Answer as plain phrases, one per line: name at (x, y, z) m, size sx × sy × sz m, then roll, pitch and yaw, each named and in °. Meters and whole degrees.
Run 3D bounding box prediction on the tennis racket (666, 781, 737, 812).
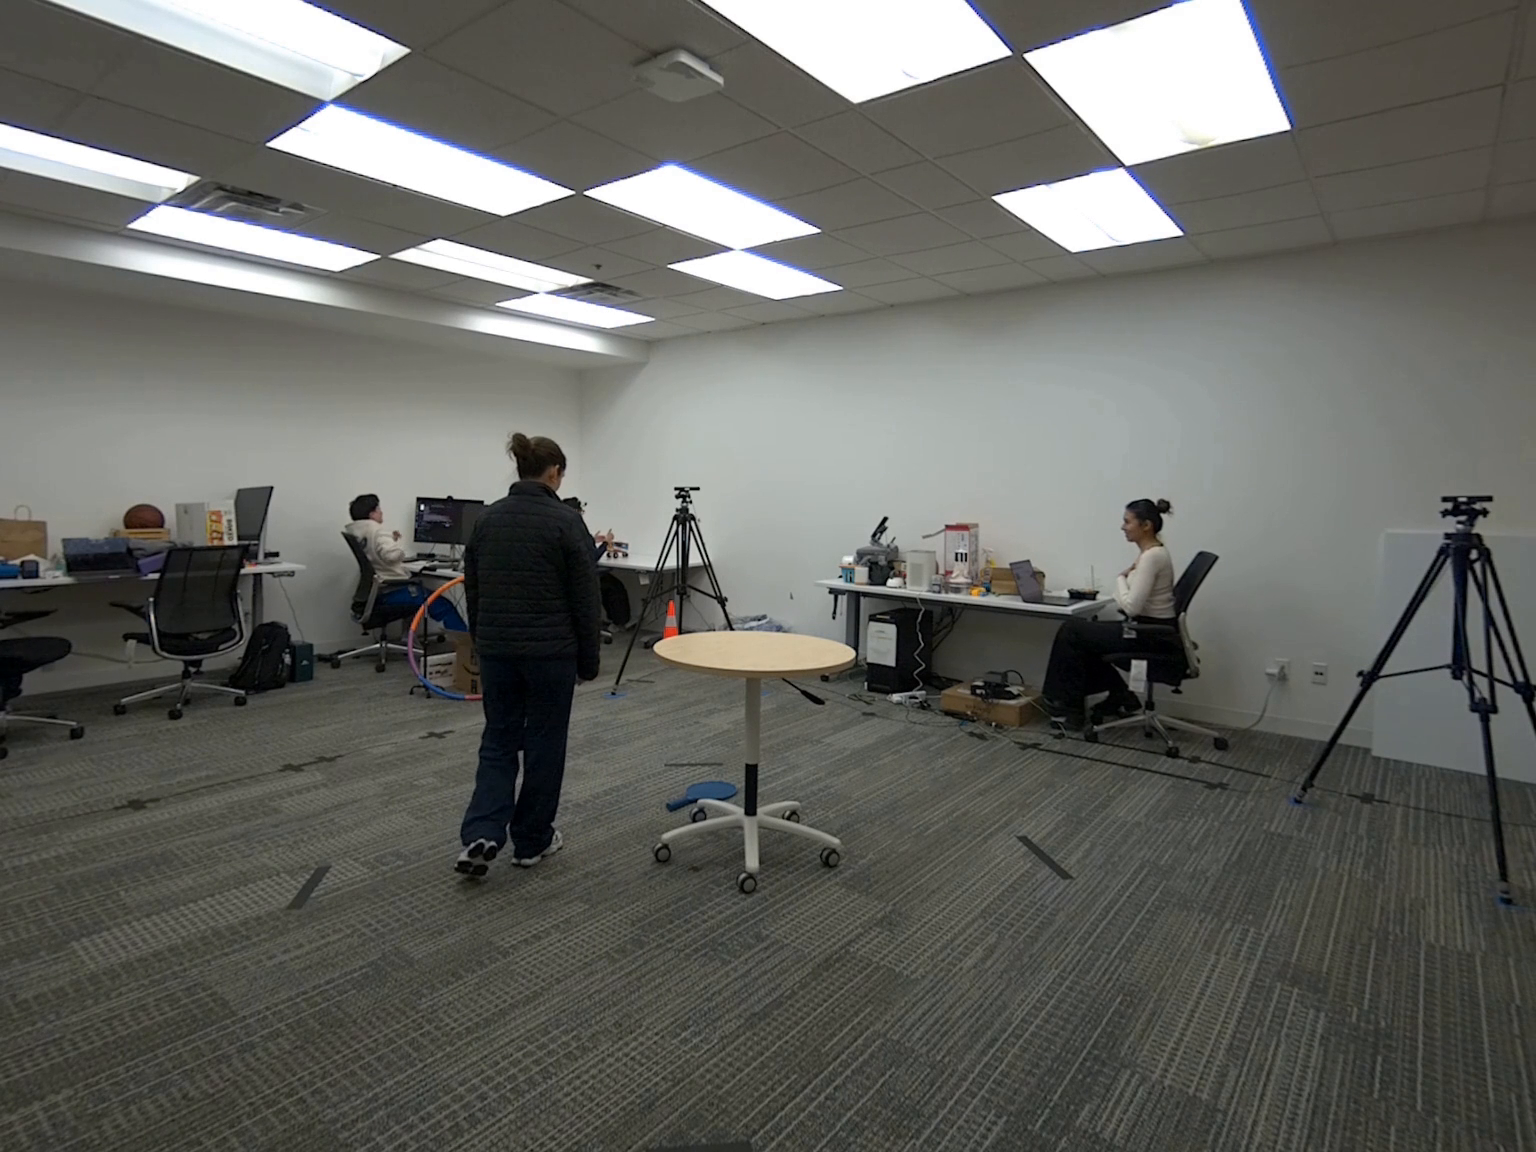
tennis racket at (-0.286, 0.978, 3.837) m, size 0.221 × 0.031 × 0.420 m, roll 6°, pitch 6°, yaw 38°
